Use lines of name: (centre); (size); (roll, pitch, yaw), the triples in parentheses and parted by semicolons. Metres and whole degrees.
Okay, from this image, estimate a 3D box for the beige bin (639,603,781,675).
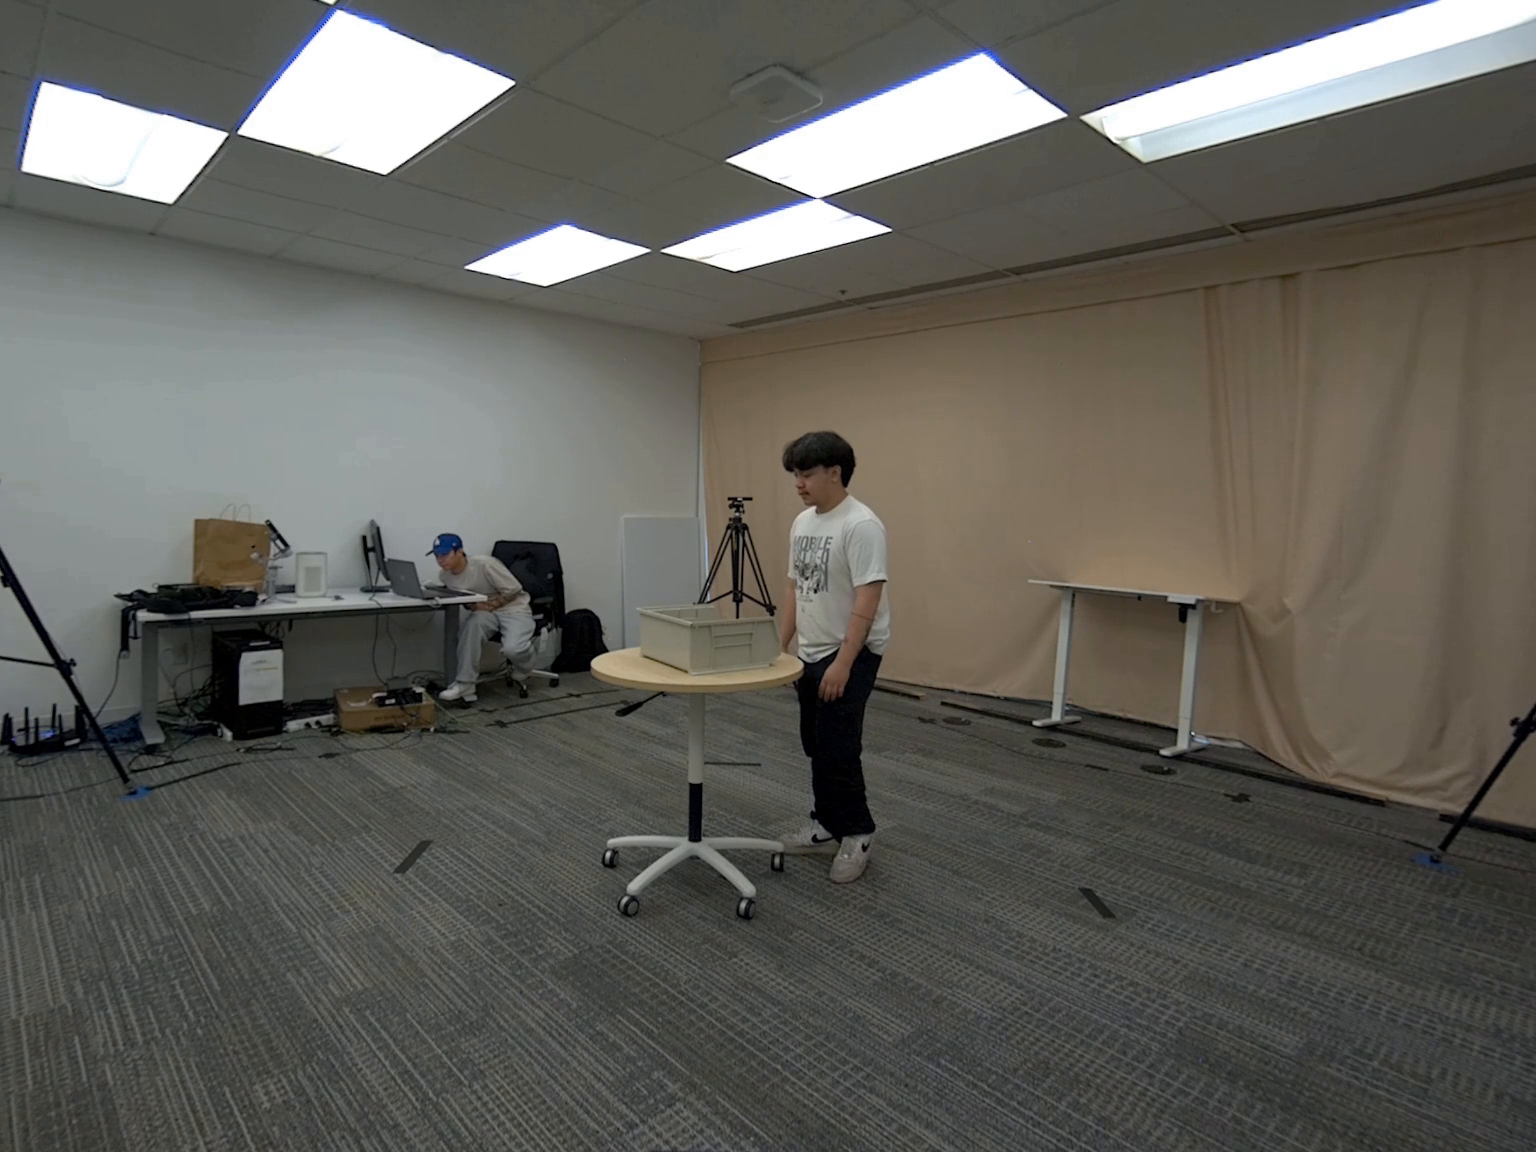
beige bin: (-0.224, 0.217, 3.059); (0.369, 0.188, 0.433); (-3, 8, -33)
